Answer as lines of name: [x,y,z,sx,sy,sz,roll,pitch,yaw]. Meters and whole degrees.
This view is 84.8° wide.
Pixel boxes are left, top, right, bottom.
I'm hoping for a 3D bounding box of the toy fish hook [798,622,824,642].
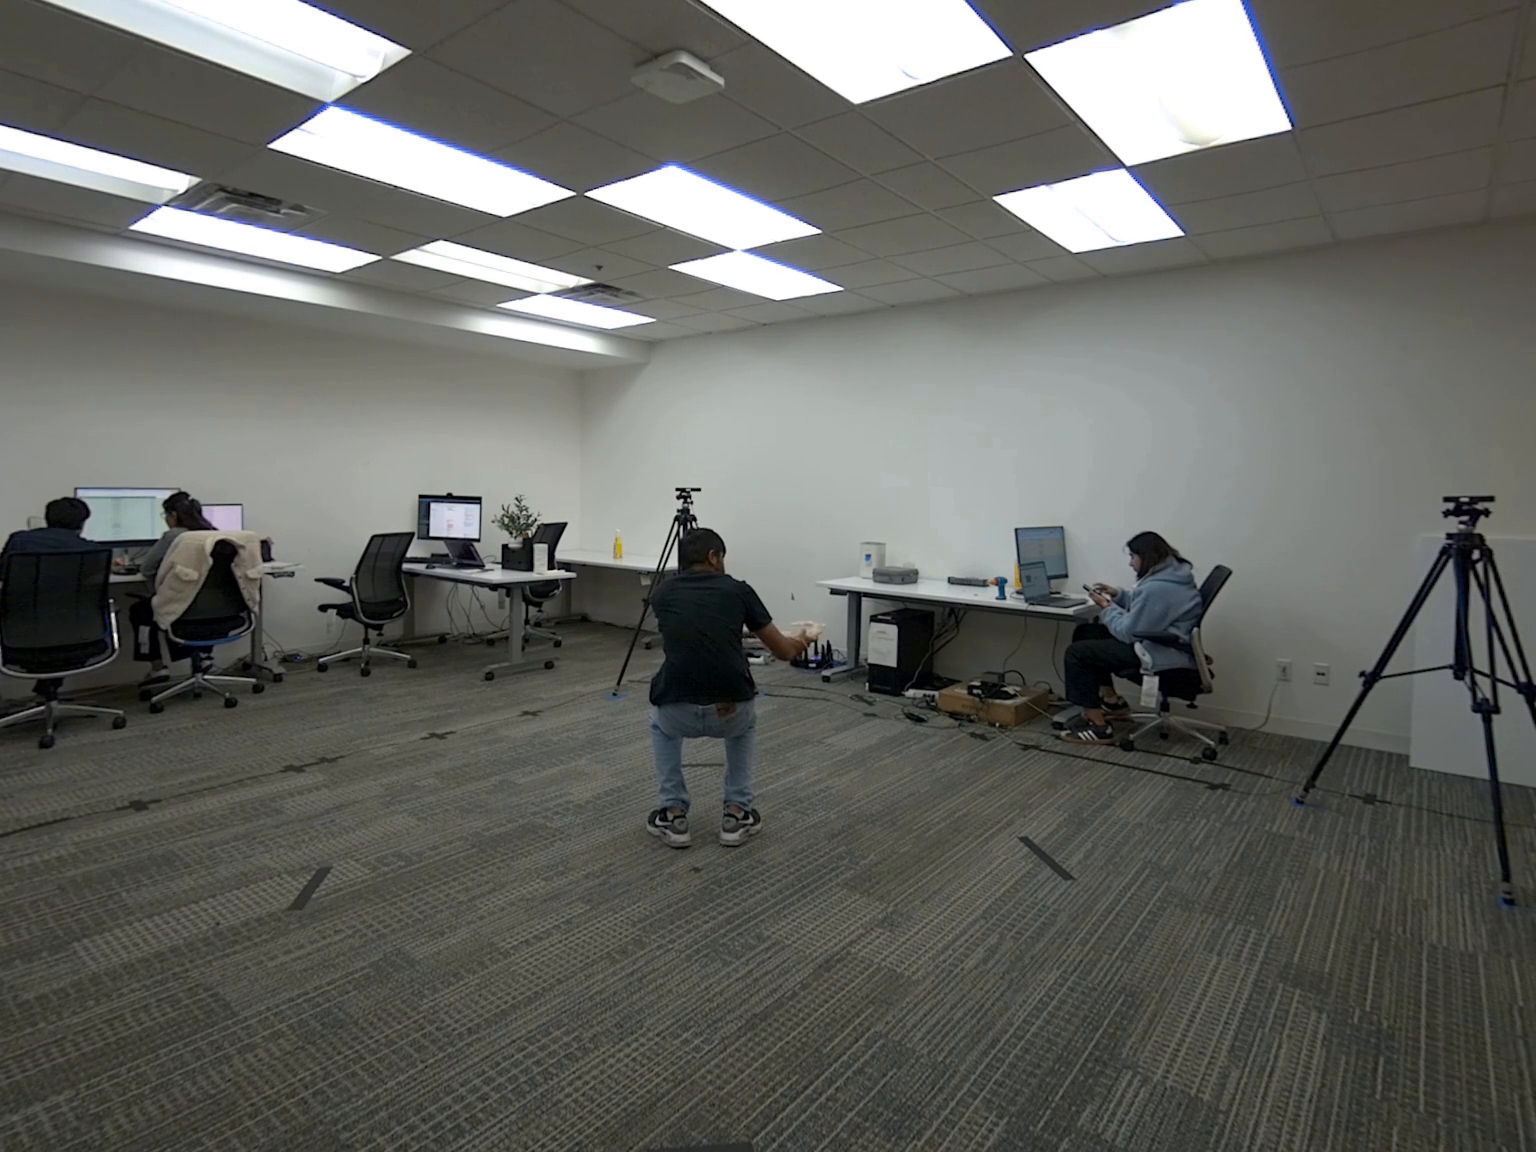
toy fish hook: [-0.022,0.252,3.924,0.518,0.048,0.222,-2,12,24]
